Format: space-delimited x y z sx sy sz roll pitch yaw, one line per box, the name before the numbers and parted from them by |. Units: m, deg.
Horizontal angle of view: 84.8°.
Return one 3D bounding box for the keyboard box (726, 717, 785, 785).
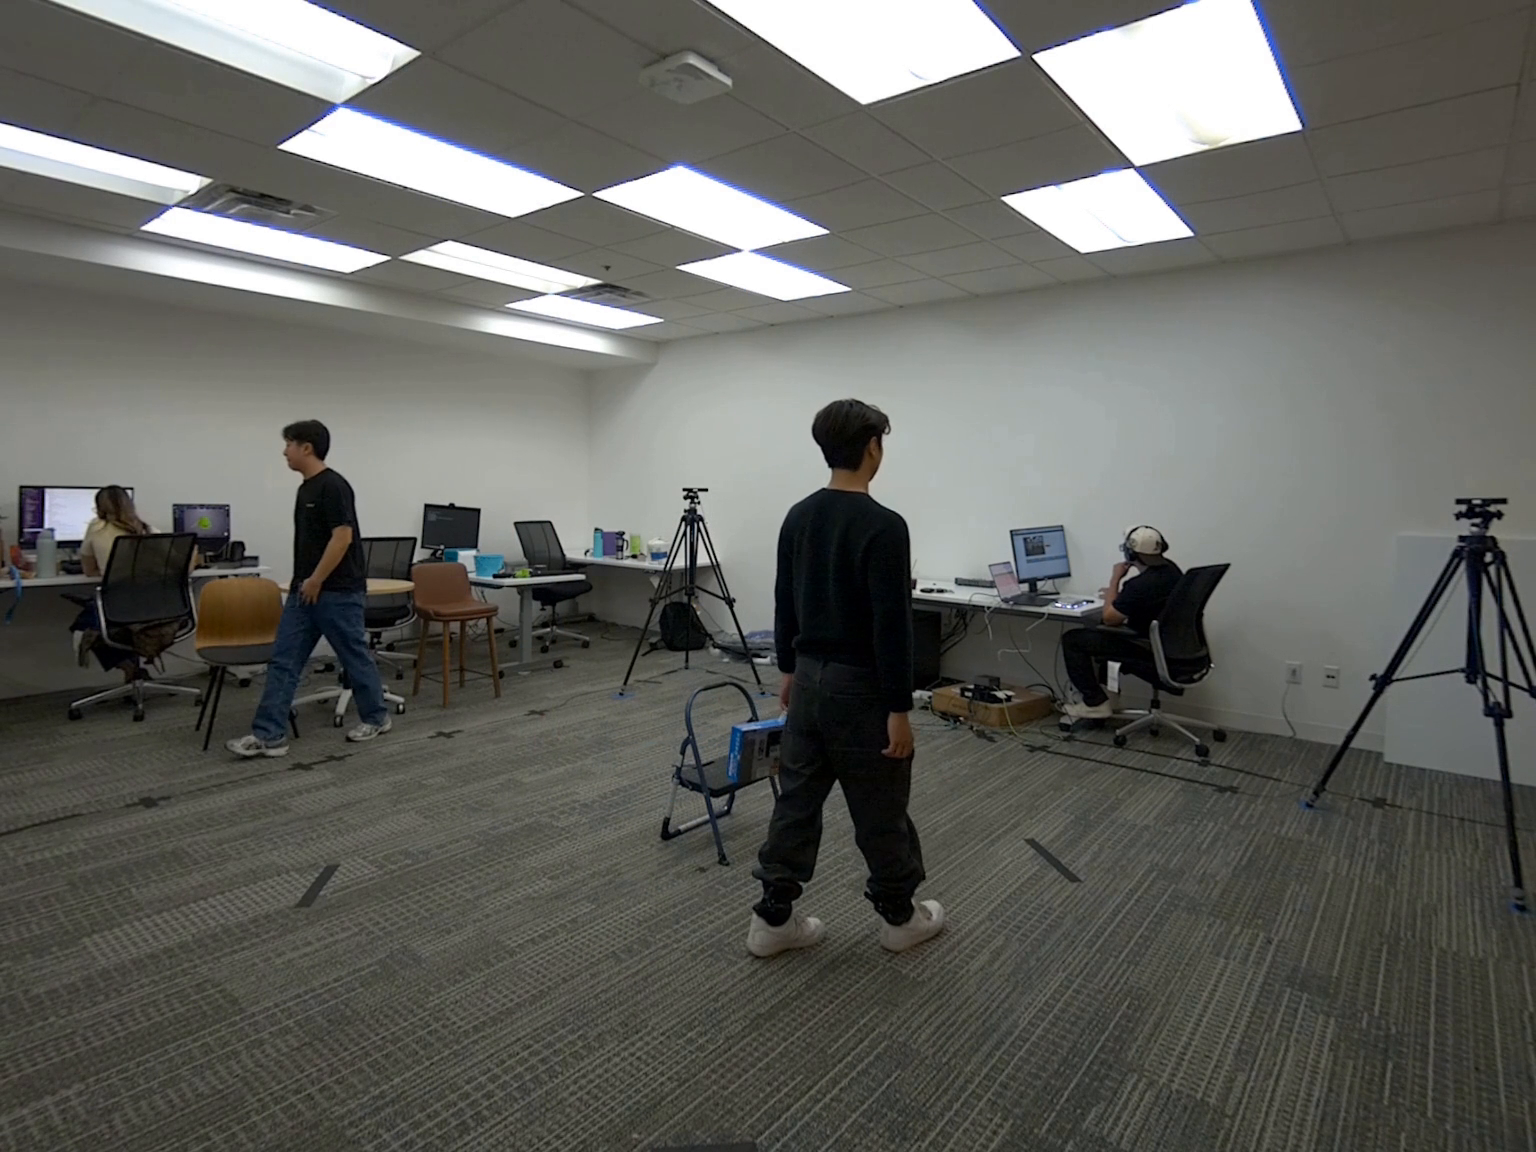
keyboard box | 0.058 0.554 2.815 0.424 0.175 0.061 -1 9 -37
